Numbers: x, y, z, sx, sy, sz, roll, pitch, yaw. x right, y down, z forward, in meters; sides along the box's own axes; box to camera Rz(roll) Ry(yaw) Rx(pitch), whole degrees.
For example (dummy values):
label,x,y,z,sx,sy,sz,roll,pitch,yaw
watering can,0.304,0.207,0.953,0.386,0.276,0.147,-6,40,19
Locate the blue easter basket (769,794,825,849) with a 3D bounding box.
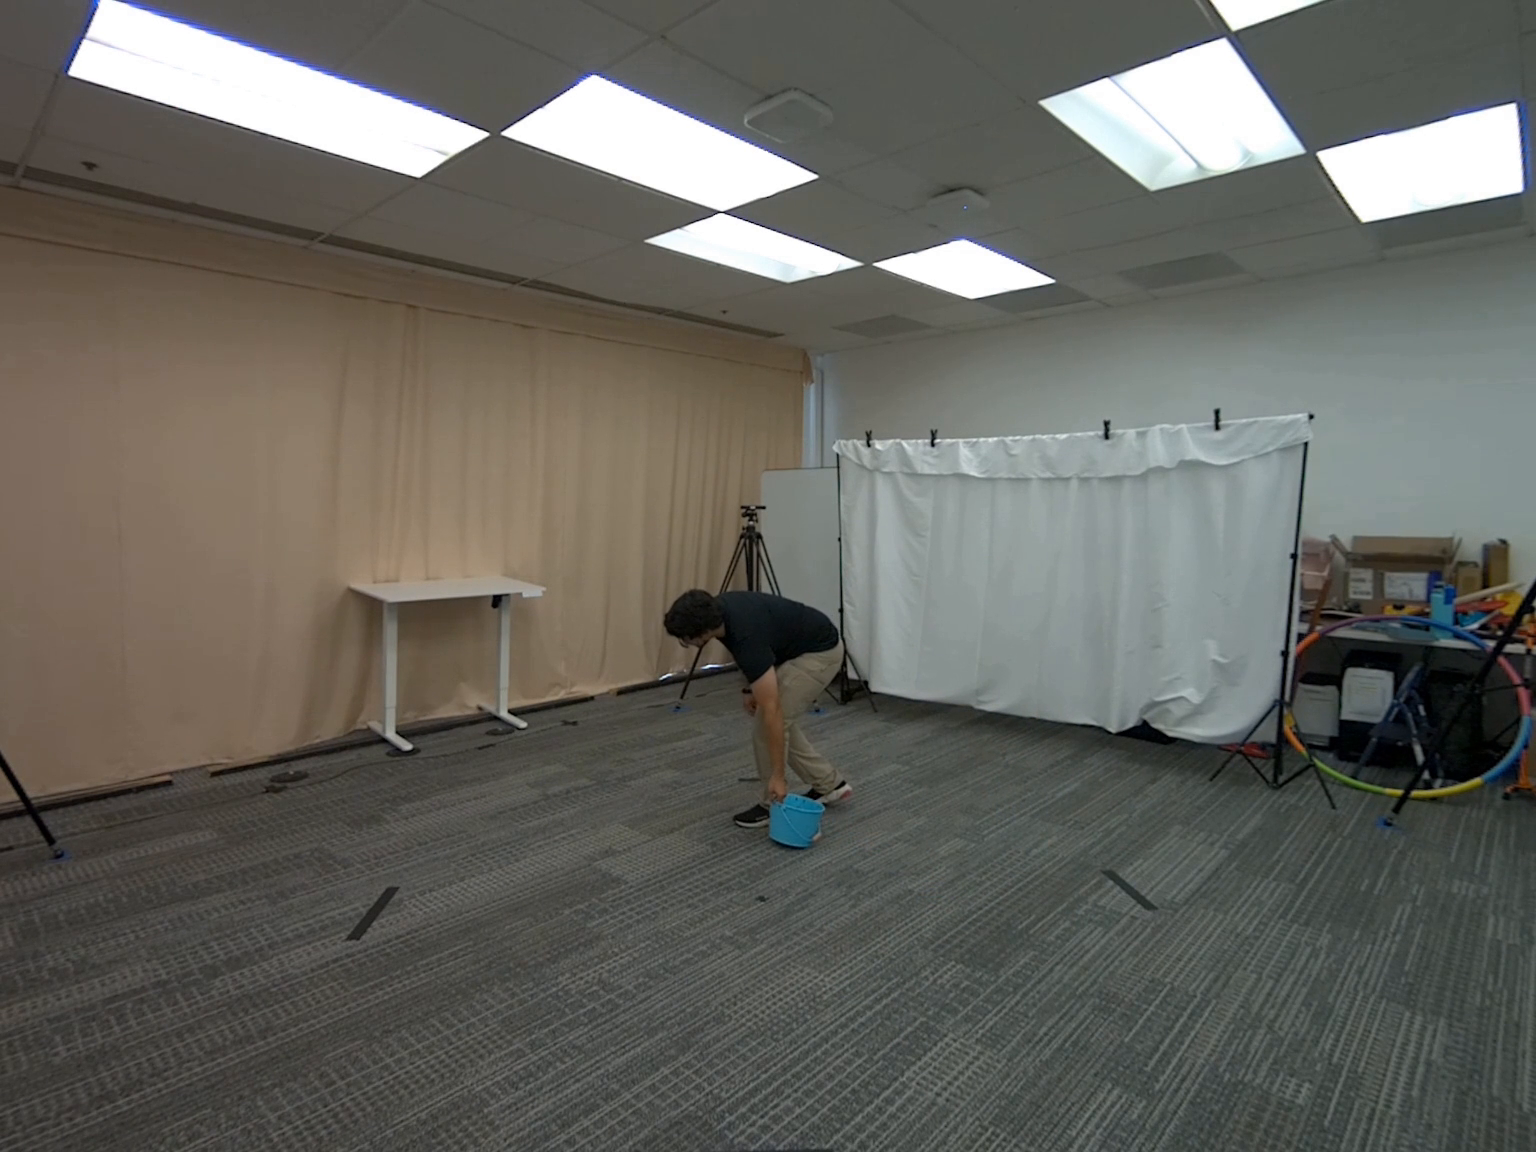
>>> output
label,x,y,z,sx,sy,sz,roll,pitch,yaw
blue easter basket,0.106,1.007,3.477,0.243,0.156,0.244,9,-1,-2
